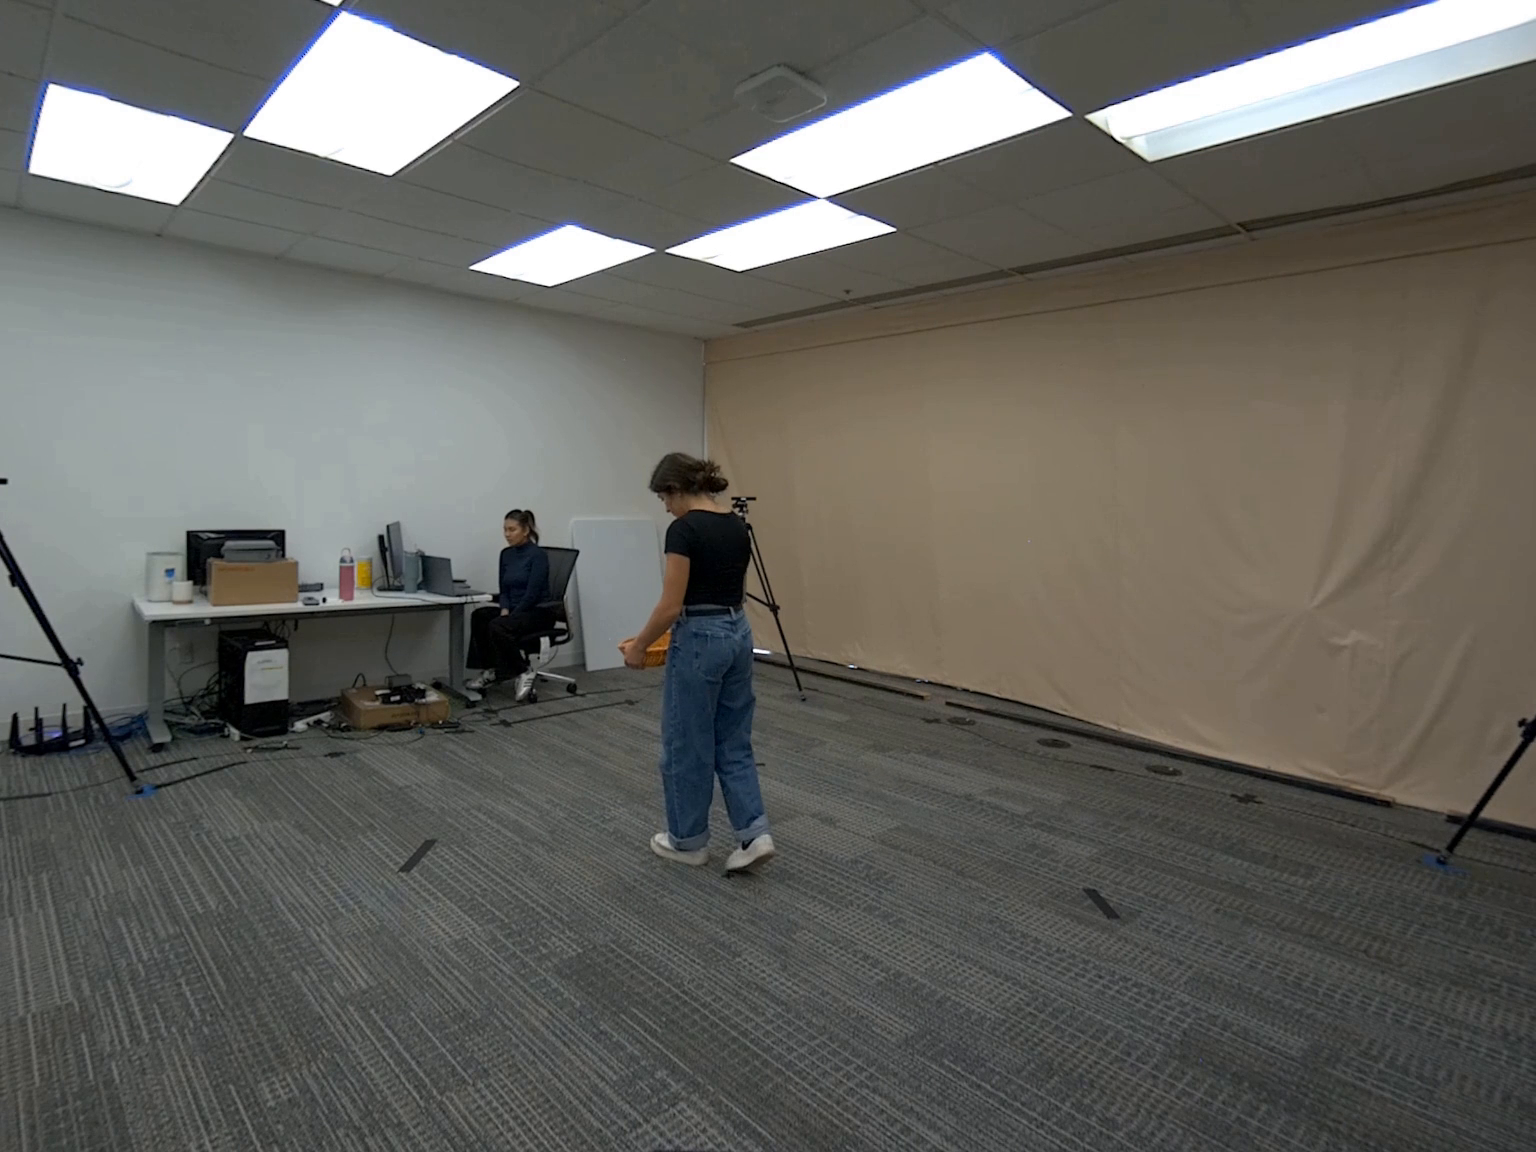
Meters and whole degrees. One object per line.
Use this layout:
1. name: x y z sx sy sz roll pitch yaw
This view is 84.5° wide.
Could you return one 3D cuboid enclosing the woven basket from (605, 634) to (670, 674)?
1. woven basket: -0.415 0.288 3.290 0.259 0.073 0.343 4 10 42
